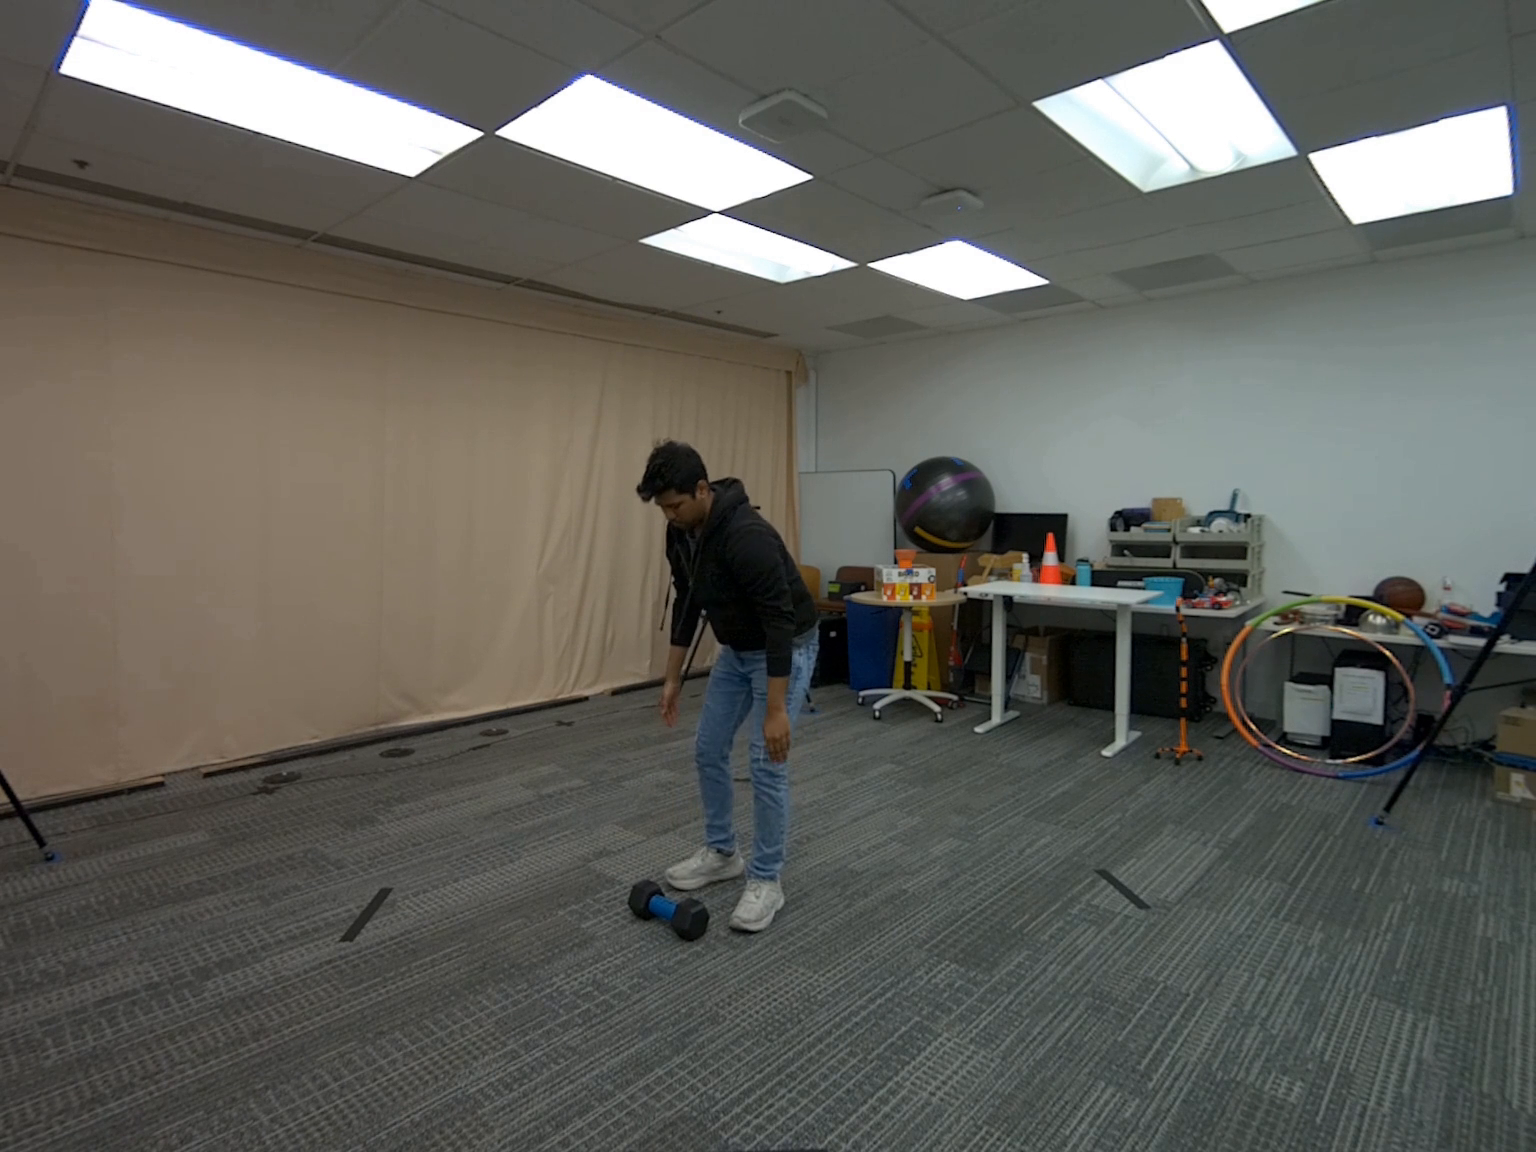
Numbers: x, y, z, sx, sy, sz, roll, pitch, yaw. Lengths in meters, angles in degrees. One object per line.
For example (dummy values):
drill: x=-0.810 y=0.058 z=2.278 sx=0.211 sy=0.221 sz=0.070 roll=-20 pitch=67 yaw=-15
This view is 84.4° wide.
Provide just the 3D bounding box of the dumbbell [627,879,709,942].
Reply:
dumbbell: x=-0.325 y=1.106 z=2.797 sx=0.303 sy=0.120 sz=0.107 roll=4 pitch=37 yaw=42
